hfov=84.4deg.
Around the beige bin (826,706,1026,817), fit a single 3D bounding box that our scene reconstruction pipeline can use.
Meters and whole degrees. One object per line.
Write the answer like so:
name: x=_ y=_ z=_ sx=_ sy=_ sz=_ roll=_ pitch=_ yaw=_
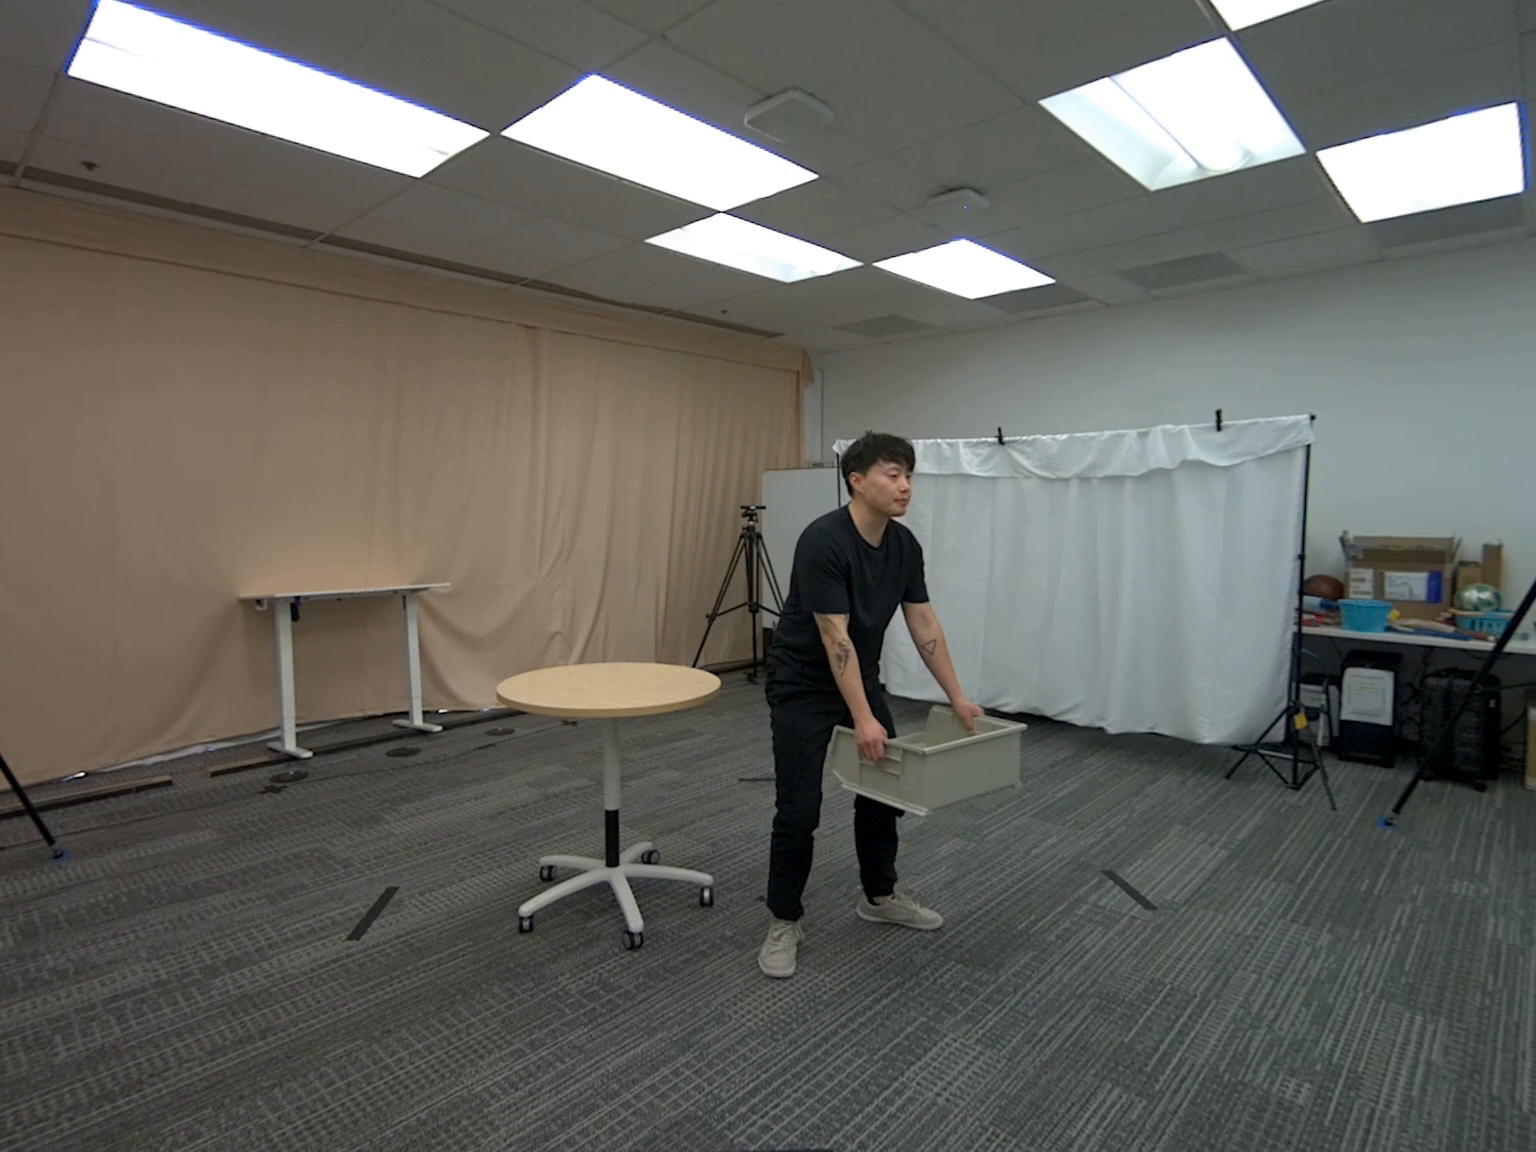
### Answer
beige bin: x=0.466 y=0.516 z=2.427 sx=0.410 sy=0.188 sz=0.389 roll=-2 pitch=4 yaw=-36
